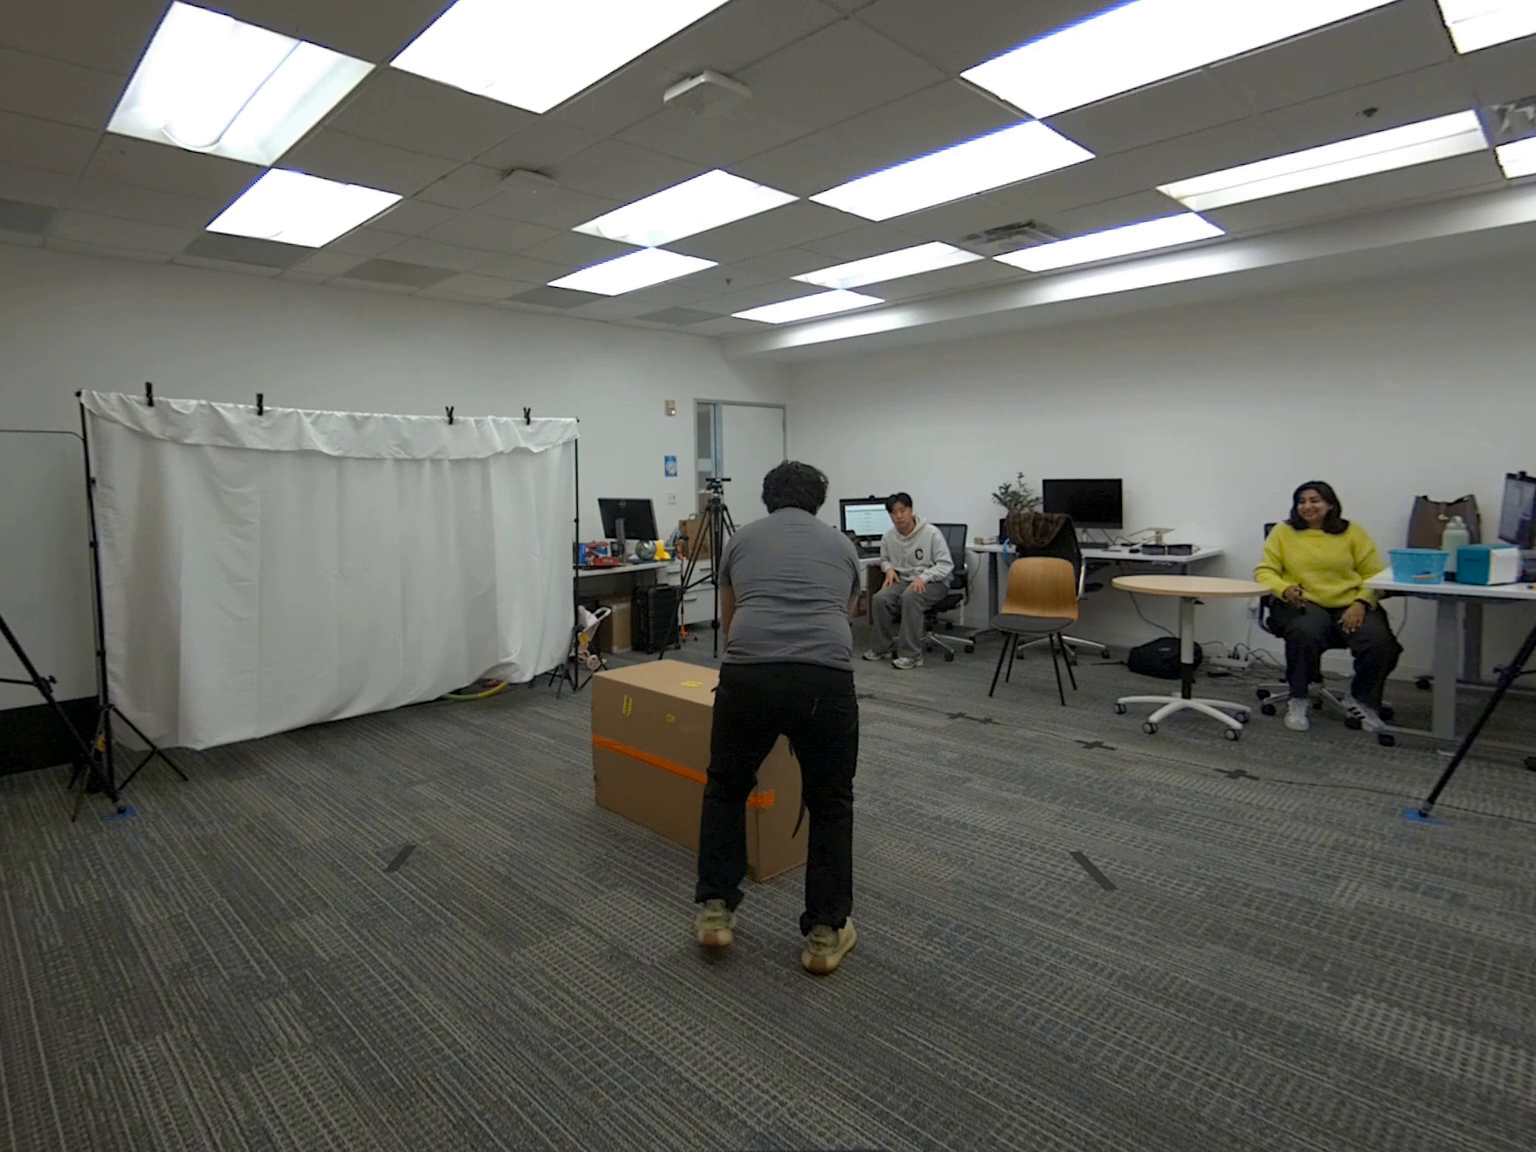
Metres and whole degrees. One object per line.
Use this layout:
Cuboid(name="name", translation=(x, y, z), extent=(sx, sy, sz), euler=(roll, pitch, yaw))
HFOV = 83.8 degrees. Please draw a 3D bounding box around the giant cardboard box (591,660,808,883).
Cuboid(name="giant cardboard box", translation=(-0.247, 0.723, 3.448), extent=(0.415, 0.575, 1.058), euler=(-5, 7, -43))
